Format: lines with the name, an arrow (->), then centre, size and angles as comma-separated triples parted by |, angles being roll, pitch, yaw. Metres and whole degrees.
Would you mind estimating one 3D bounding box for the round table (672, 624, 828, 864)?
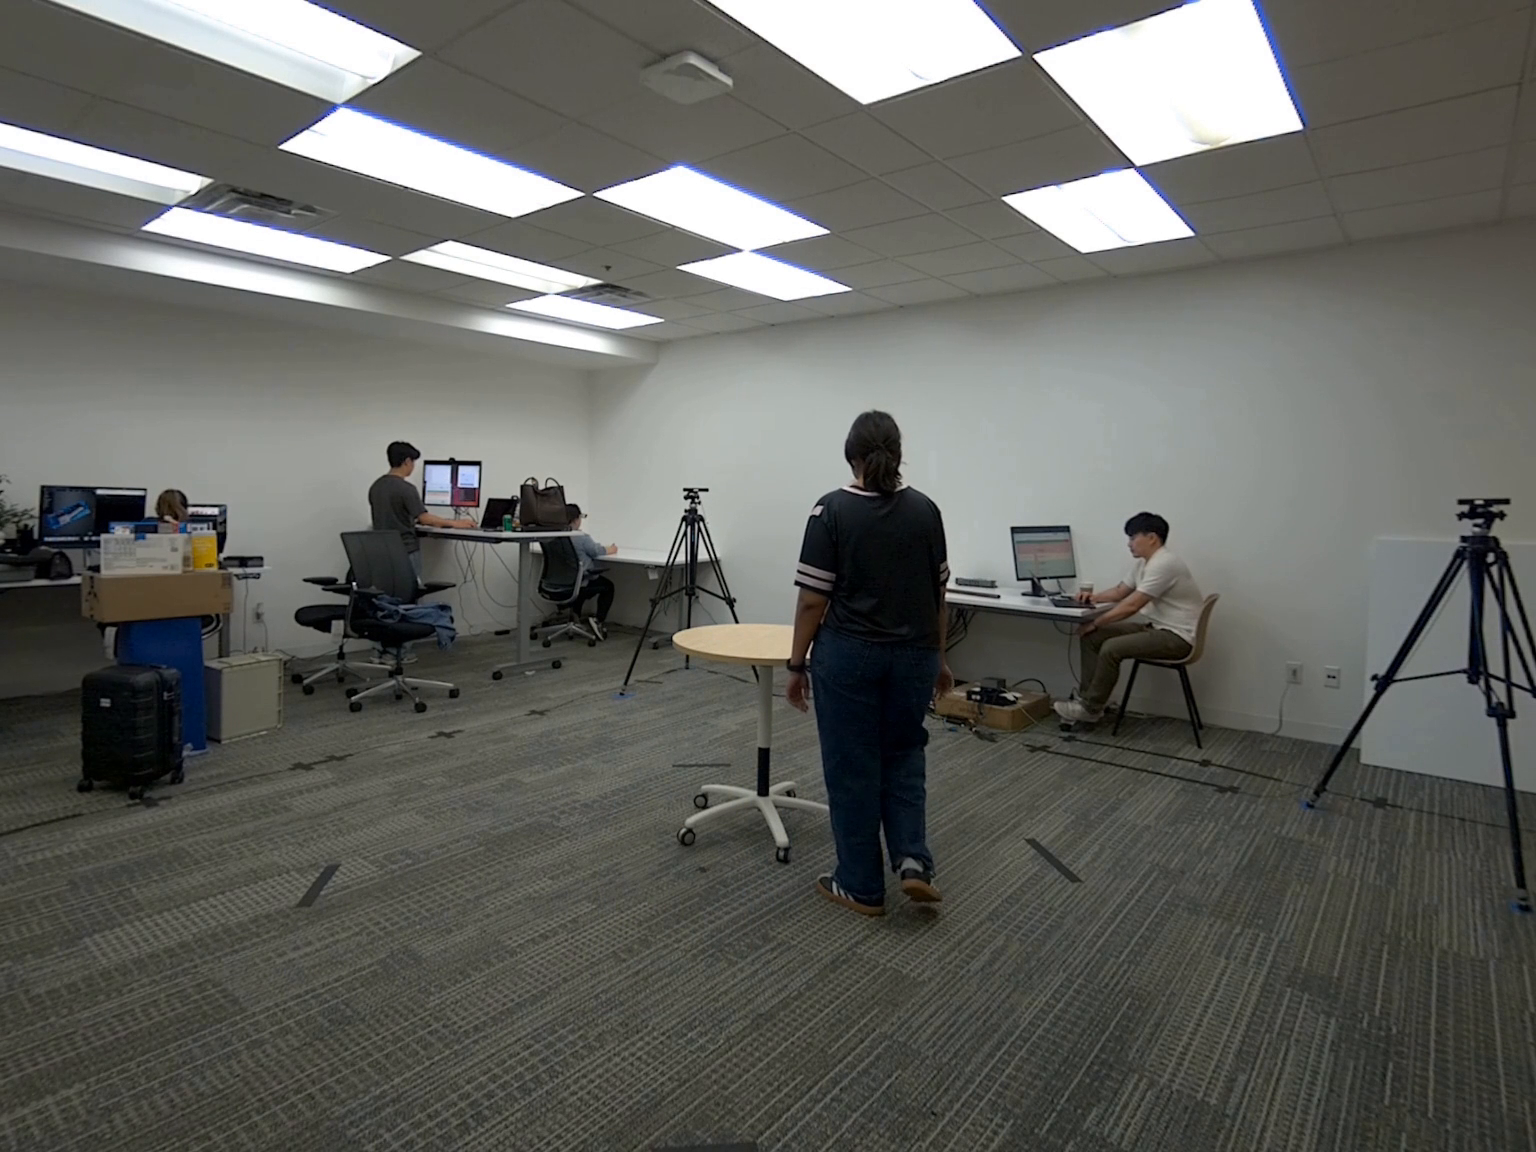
round table -> -0.030, 0.648, 3.486 | 0.763, 0.791, 0.768 | 1, 4, -2
